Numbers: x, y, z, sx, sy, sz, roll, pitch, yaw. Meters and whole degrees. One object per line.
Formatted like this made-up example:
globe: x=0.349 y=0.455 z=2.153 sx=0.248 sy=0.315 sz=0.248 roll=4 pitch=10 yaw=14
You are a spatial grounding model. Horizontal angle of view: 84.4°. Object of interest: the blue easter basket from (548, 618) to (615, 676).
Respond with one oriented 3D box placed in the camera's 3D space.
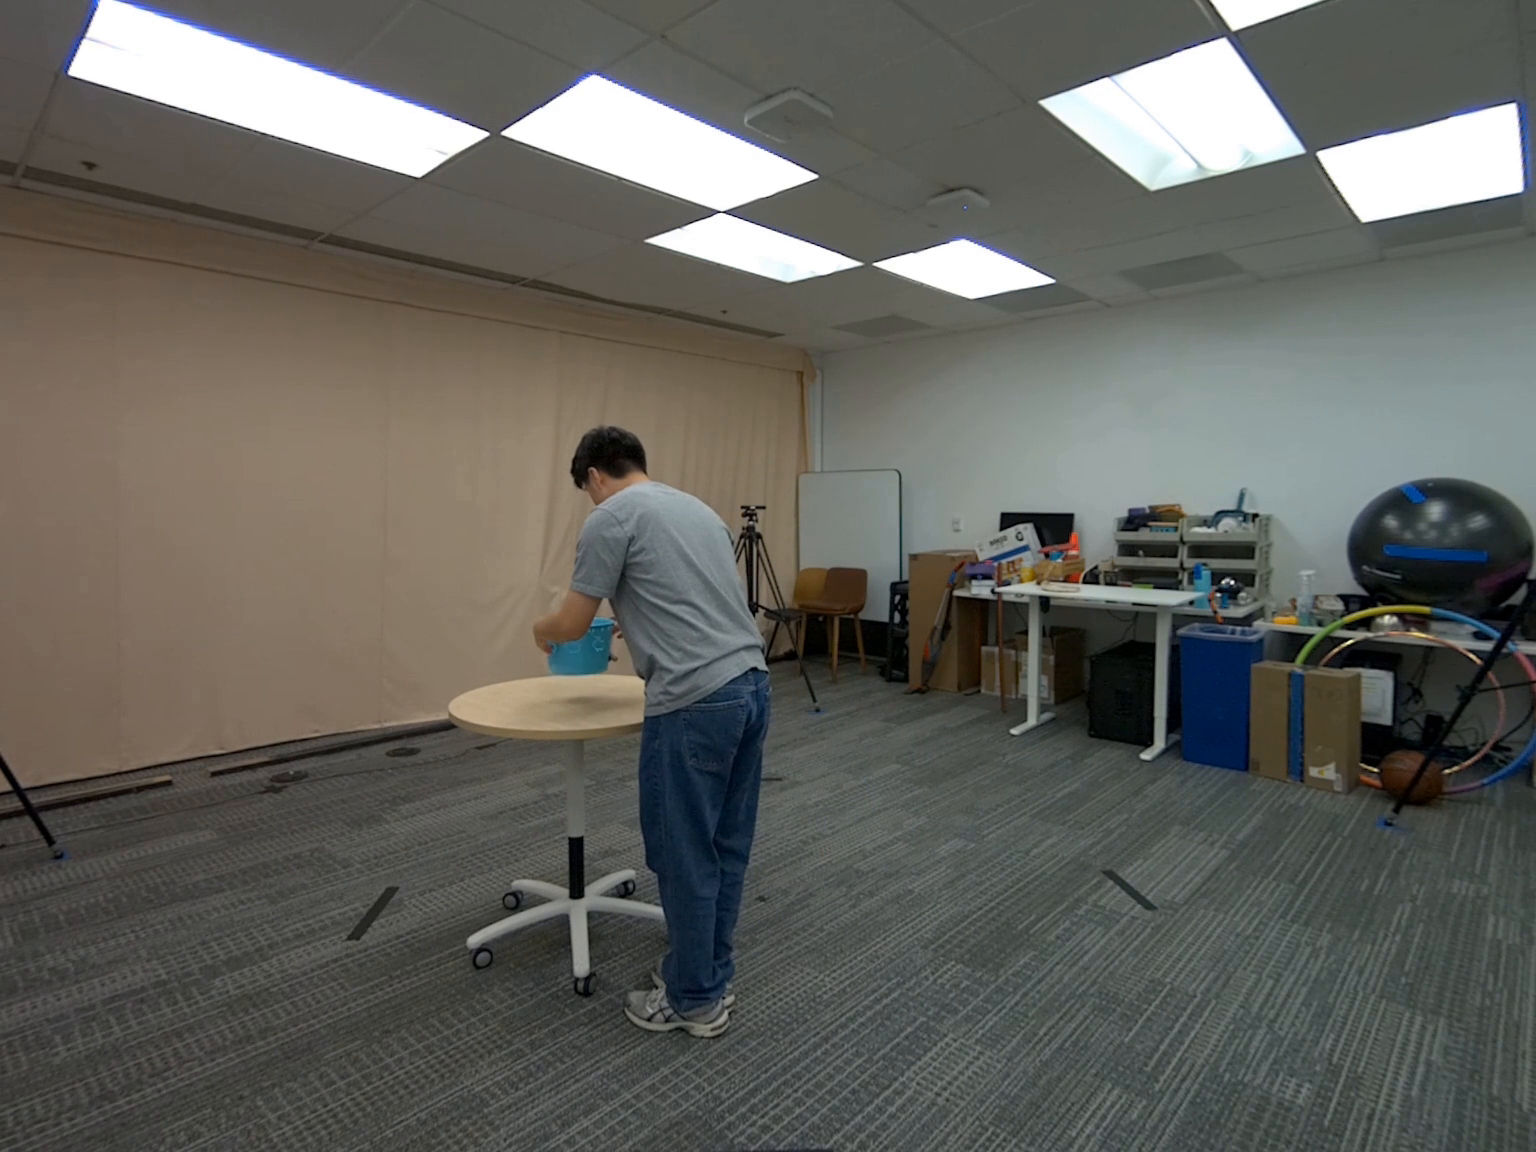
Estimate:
blue easter basket: x=-0.593 y=0.219 z=2.626 sx=0.243 sy=0.155 sz=0.244 roll=-1 pitch=5 yaw=-2
